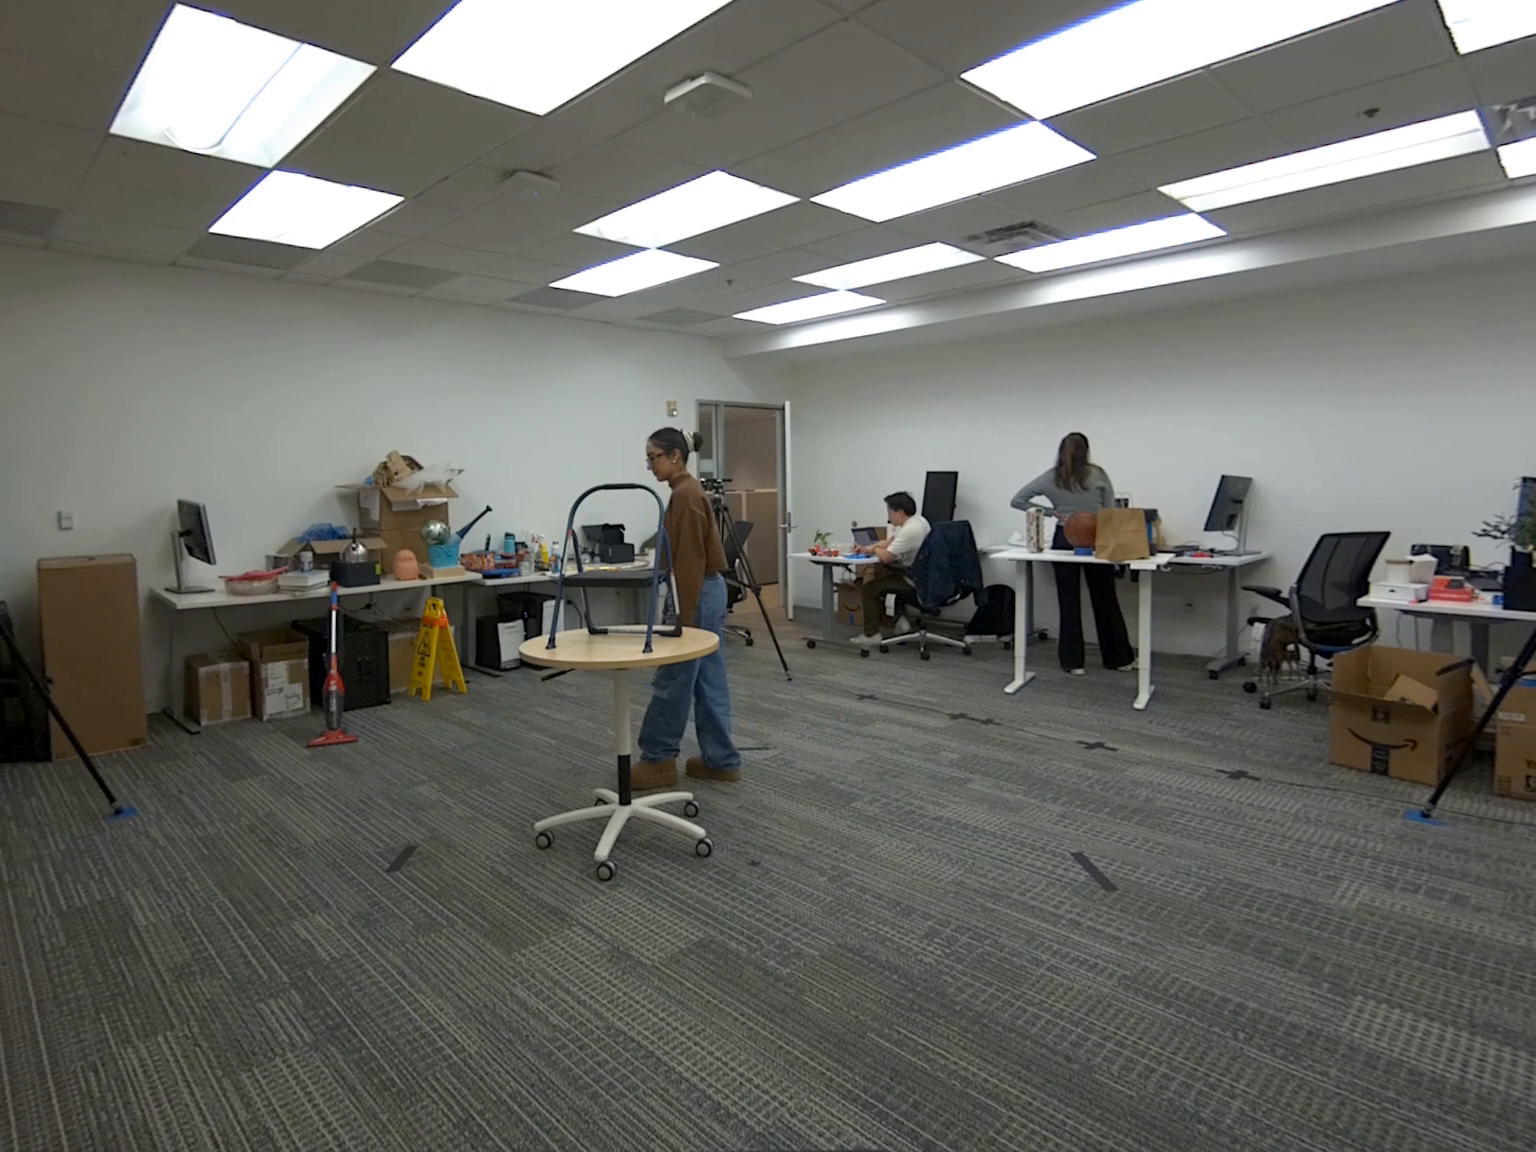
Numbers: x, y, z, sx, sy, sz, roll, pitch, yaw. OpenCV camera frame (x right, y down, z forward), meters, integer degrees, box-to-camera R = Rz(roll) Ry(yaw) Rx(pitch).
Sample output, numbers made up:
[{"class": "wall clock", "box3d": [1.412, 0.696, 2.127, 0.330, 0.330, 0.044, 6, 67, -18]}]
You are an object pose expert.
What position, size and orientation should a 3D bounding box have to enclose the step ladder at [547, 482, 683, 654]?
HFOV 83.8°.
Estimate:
[{"class": "step ladder", "box3d": [-0.591, -0.045, 3.262, 0.438, 0.604, 0.344, 0, 4, 18]}]
